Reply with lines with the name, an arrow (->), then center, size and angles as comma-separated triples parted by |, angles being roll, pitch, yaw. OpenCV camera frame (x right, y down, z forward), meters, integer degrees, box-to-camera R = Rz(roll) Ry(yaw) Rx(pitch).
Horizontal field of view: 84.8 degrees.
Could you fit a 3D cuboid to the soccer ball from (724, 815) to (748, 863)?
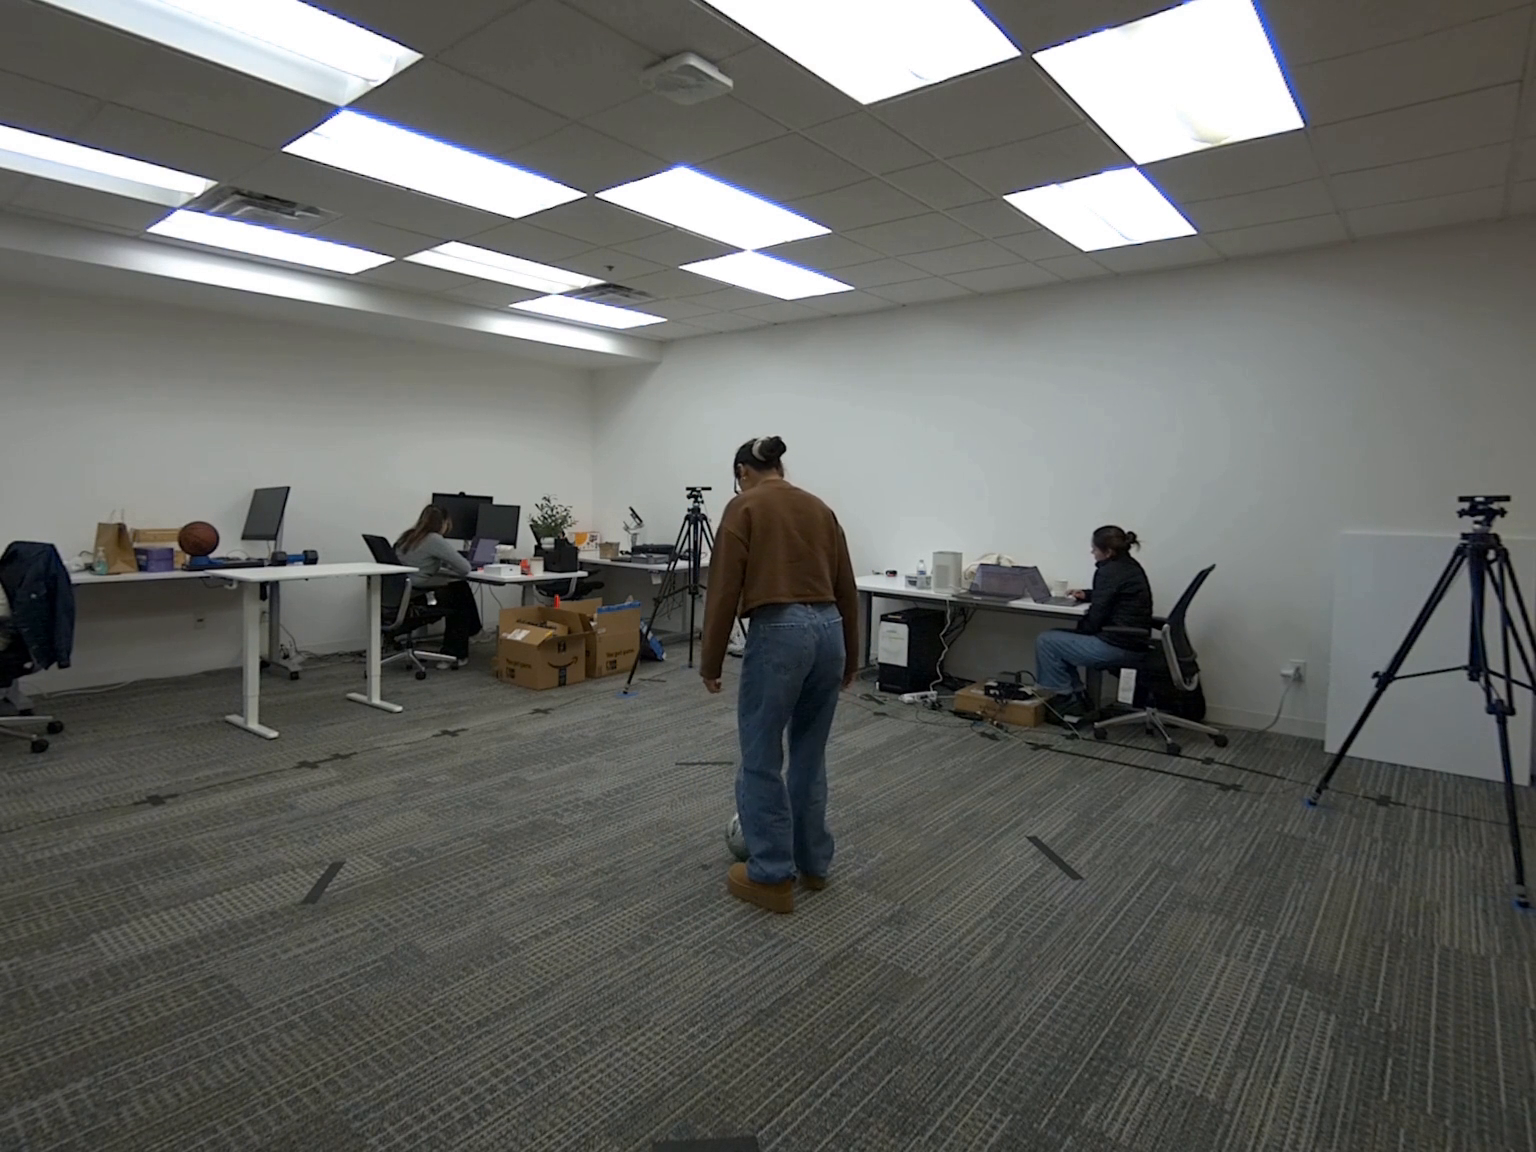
soccer ball -> -0.075, 0.960, 3.183 | 0.187, 0.187, 0.188 | 1, 4, -2
